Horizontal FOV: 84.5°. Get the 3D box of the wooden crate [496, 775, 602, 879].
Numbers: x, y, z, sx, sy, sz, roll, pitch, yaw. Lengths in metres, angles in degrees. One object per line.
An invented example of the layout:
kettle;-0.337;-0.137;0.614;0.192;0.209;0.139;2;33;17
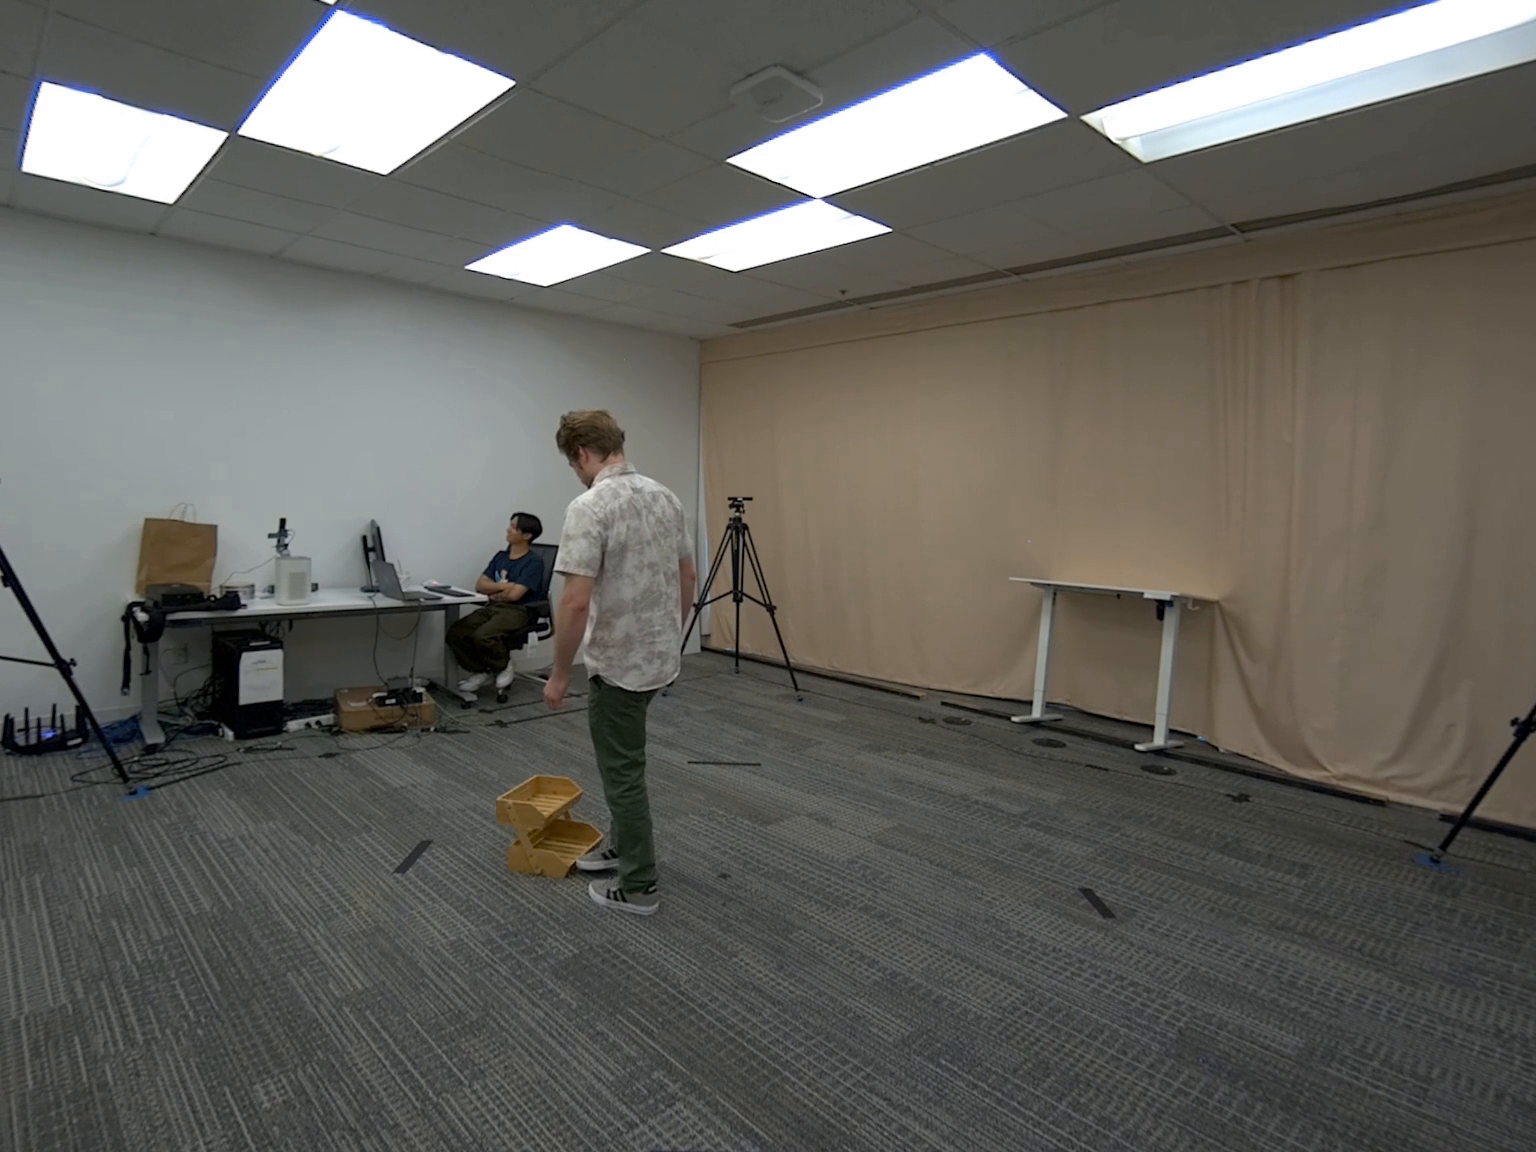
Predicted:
wooden crate;-0.833;0.948;3.230;0.306;0.272;0.321;2;4;14
